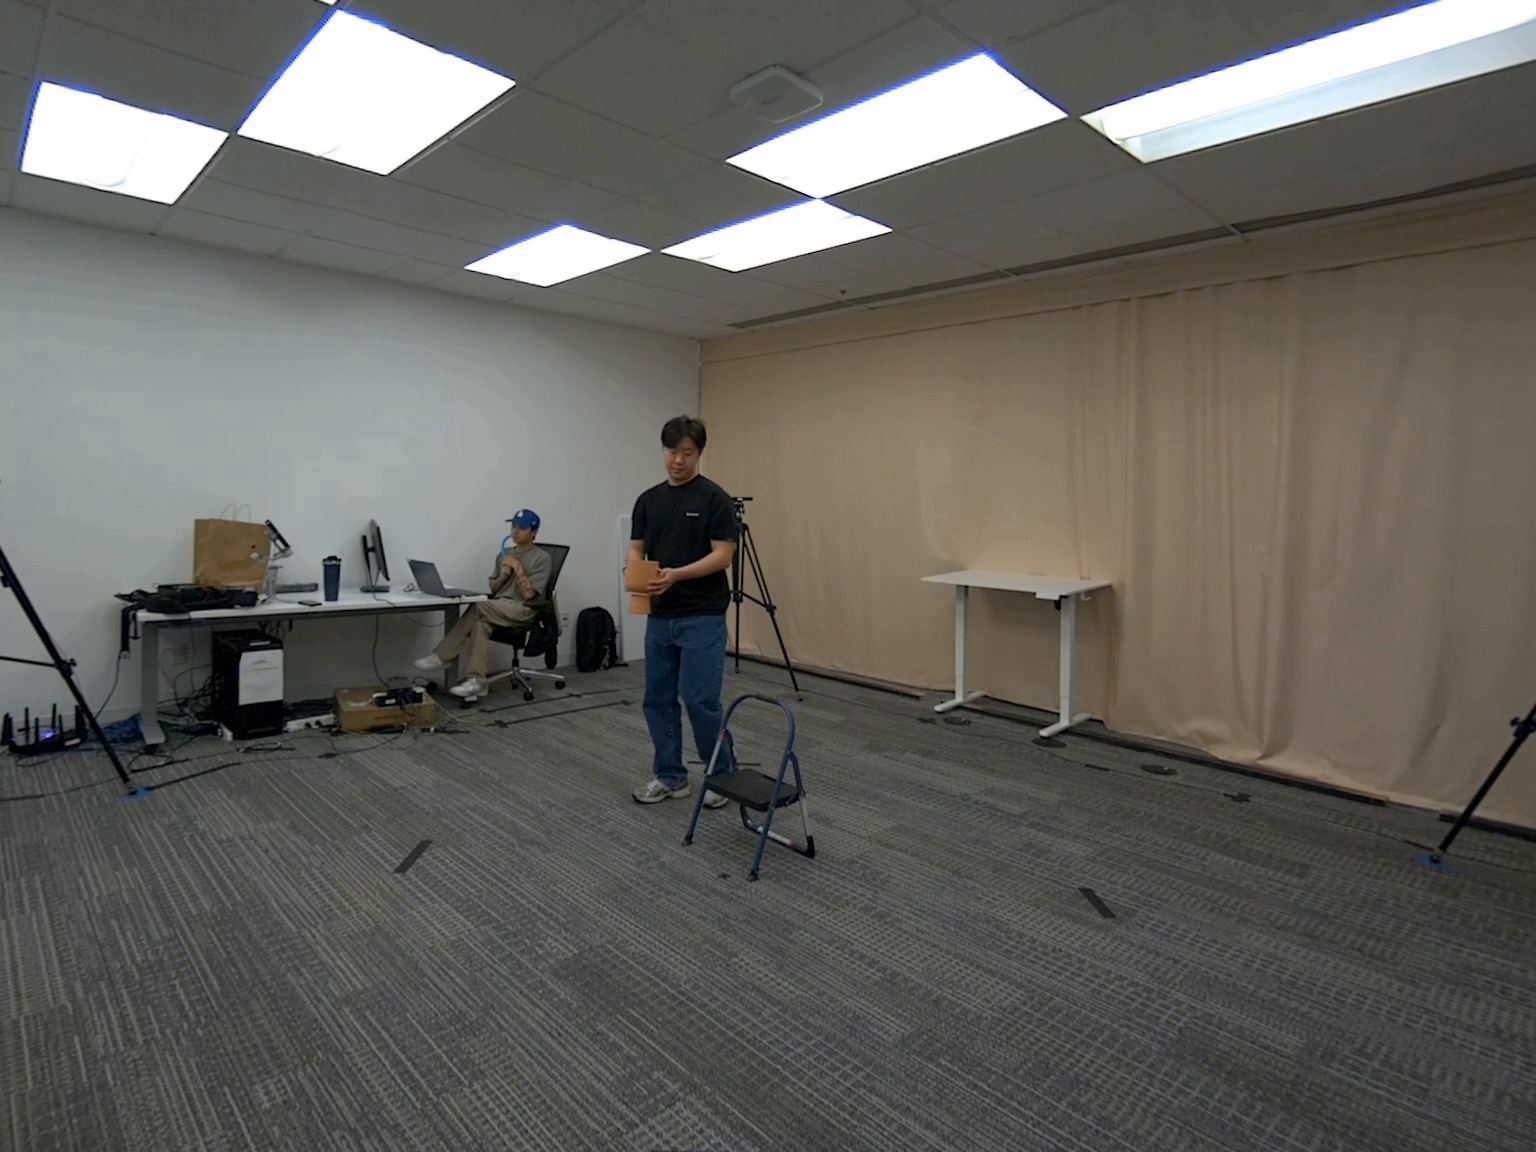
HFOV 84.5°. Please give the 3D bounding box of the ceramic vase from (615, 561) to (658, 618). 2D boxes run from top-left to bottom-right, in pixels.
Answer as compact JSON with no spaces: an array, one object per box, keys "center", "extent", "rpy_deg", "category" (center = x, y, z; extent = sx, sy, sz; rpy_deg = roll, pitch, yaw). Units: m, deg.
[{"center":[-0.543,0.053,3.548],"extent":[0.132,0.220,0.162],"rpy_deg":[3,1,-32],"category":"ceramic vase"}]
